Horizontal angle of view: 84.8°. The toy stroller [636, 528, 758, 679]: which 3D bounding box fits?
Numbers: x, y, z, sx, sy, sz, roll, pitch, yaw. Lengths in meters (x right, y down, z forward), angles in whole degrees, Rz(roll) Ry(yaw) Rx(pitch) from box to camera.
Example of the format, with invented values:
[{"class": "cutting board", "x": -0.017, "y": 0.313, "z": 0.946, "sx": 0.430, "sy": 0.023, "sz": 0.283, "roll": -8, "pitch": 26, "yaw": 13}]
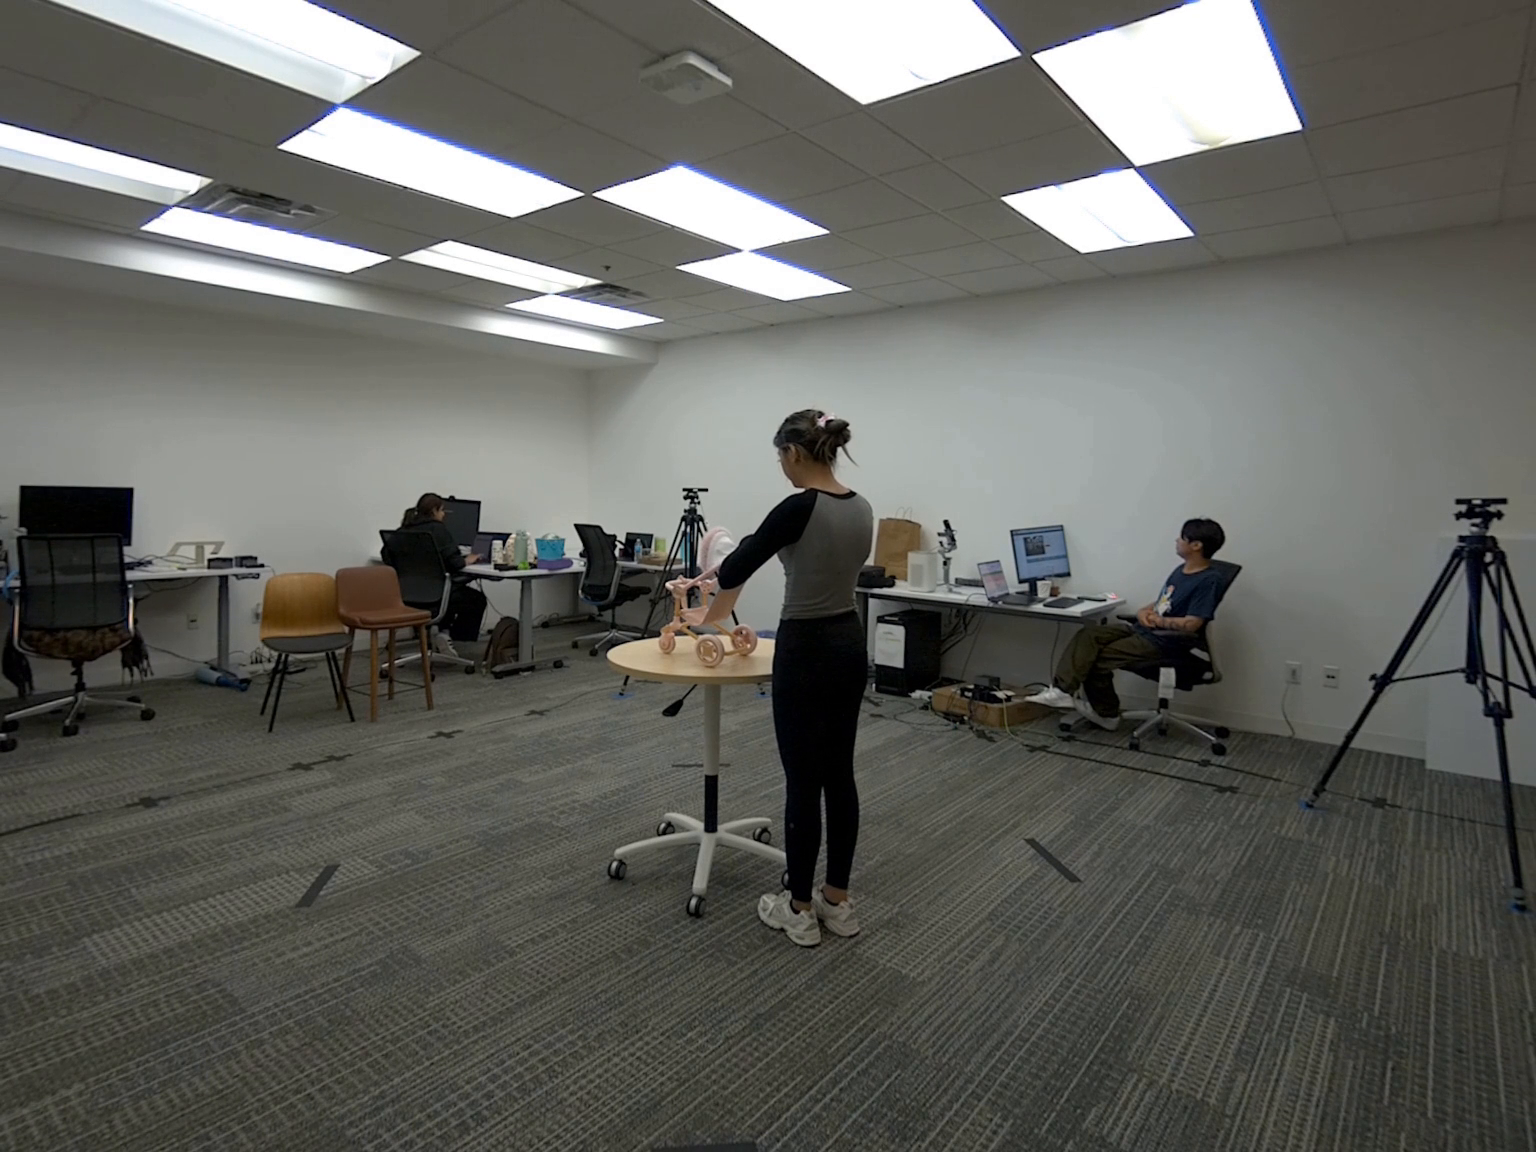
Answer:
[{"class": "toy stroller", "x": -0.203, "y": 0.064, "z": 2.975, "sx": 0.354, "sy": 0.531, "sz": 0.273, "roll": 20, "pitch": 12, "yaw": 31}]
